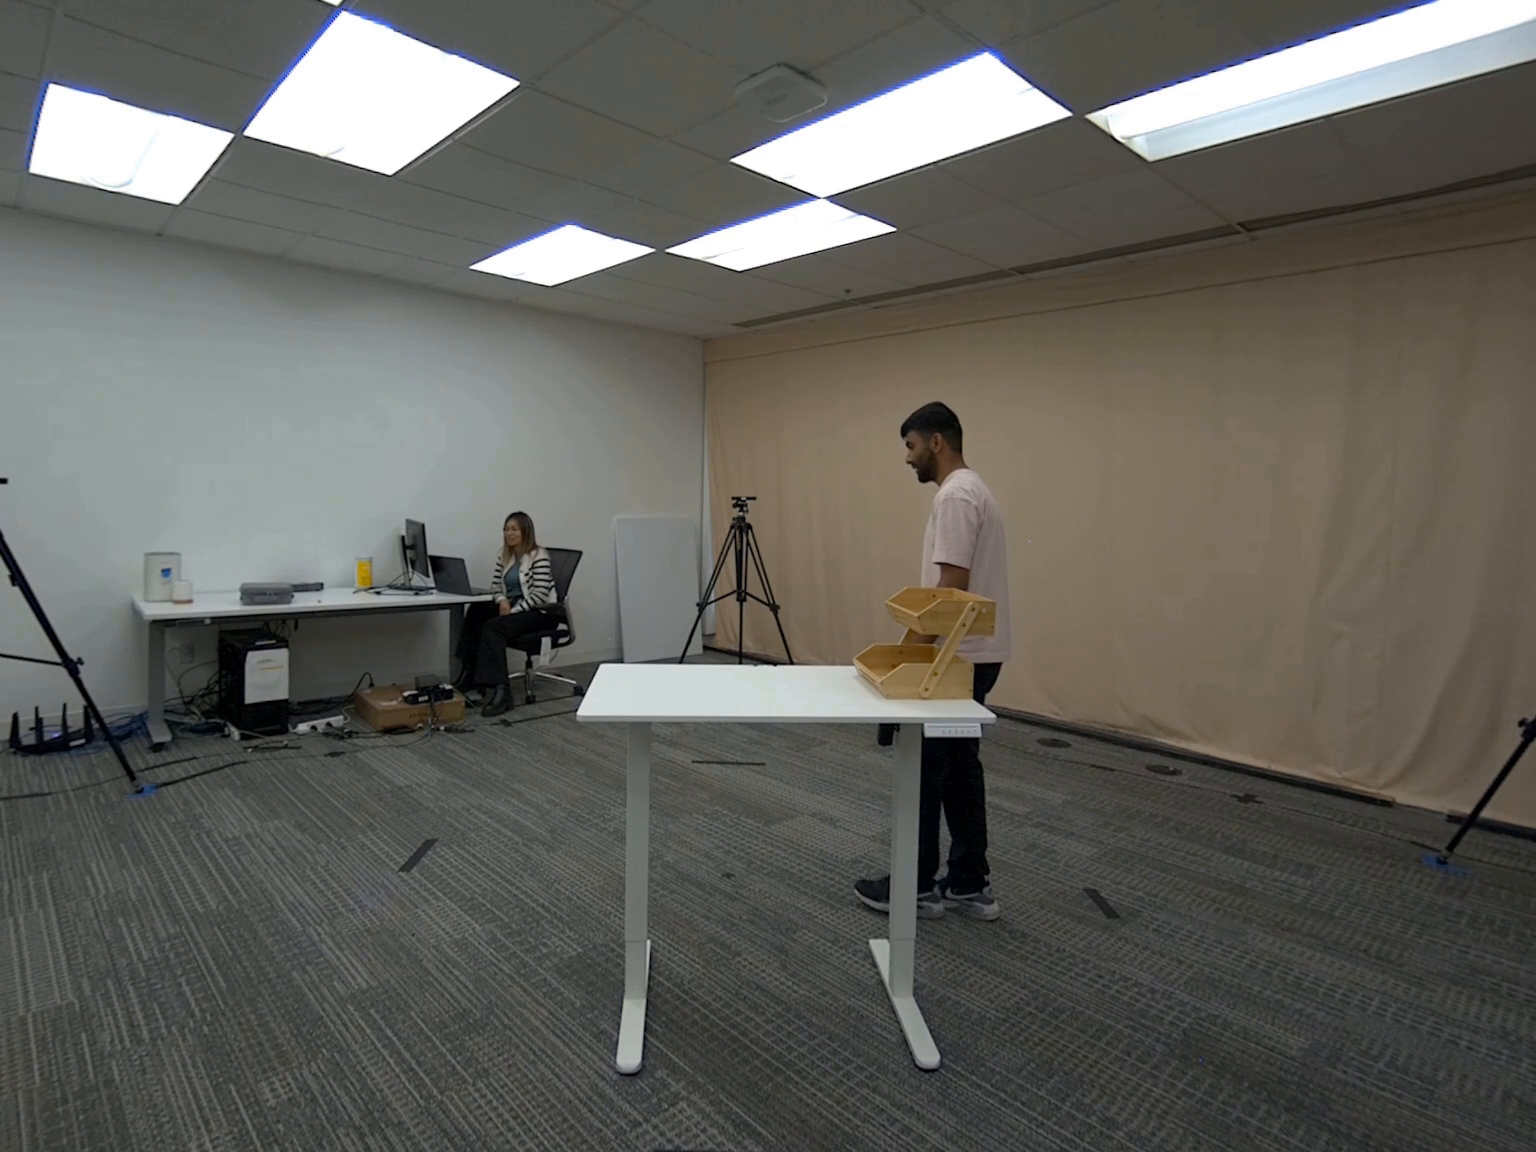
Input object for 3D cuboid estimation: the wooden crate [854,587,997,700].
[{"bbox_3d":[0.408,0.175,2.314,0.300,0.272,0.327,3,5,-7],"label":"wooden crate"}]
